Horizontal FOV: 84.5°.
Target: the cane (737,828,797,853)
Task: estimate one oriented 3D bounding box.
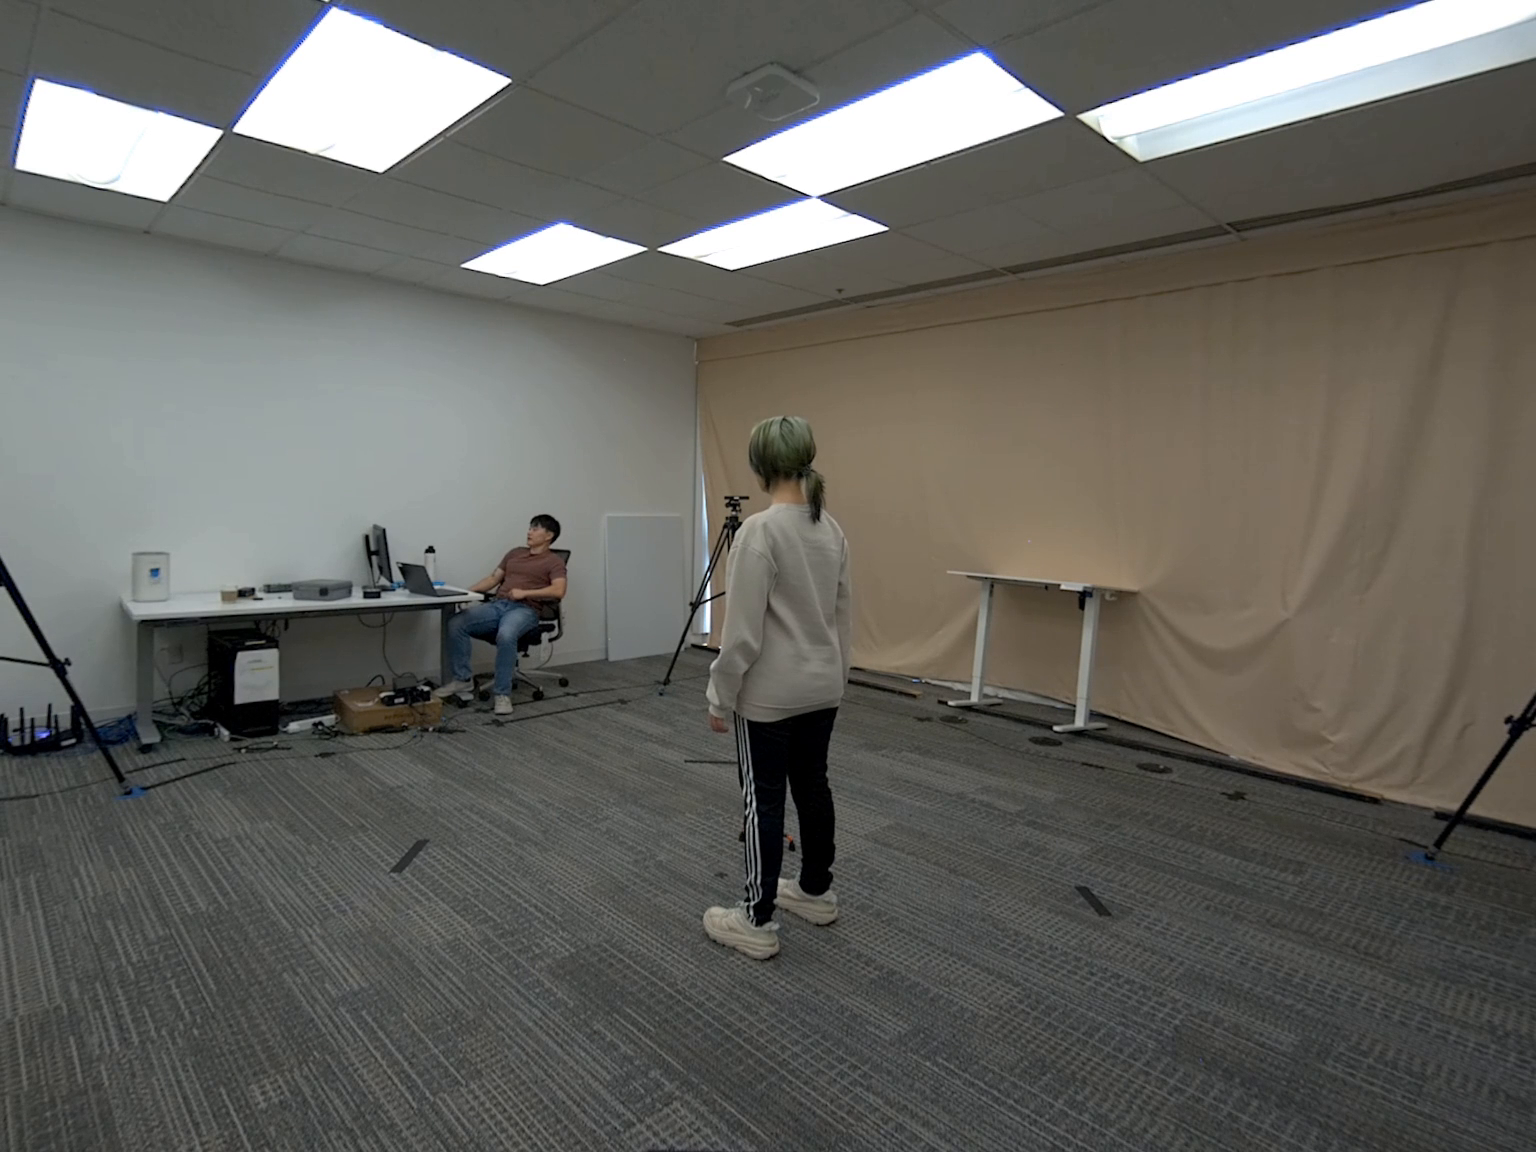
[{"bbox_3d":[0.002,0.631,3.363,0.148,0.906,0.211,0,3,-32],"label":"cane"}]
